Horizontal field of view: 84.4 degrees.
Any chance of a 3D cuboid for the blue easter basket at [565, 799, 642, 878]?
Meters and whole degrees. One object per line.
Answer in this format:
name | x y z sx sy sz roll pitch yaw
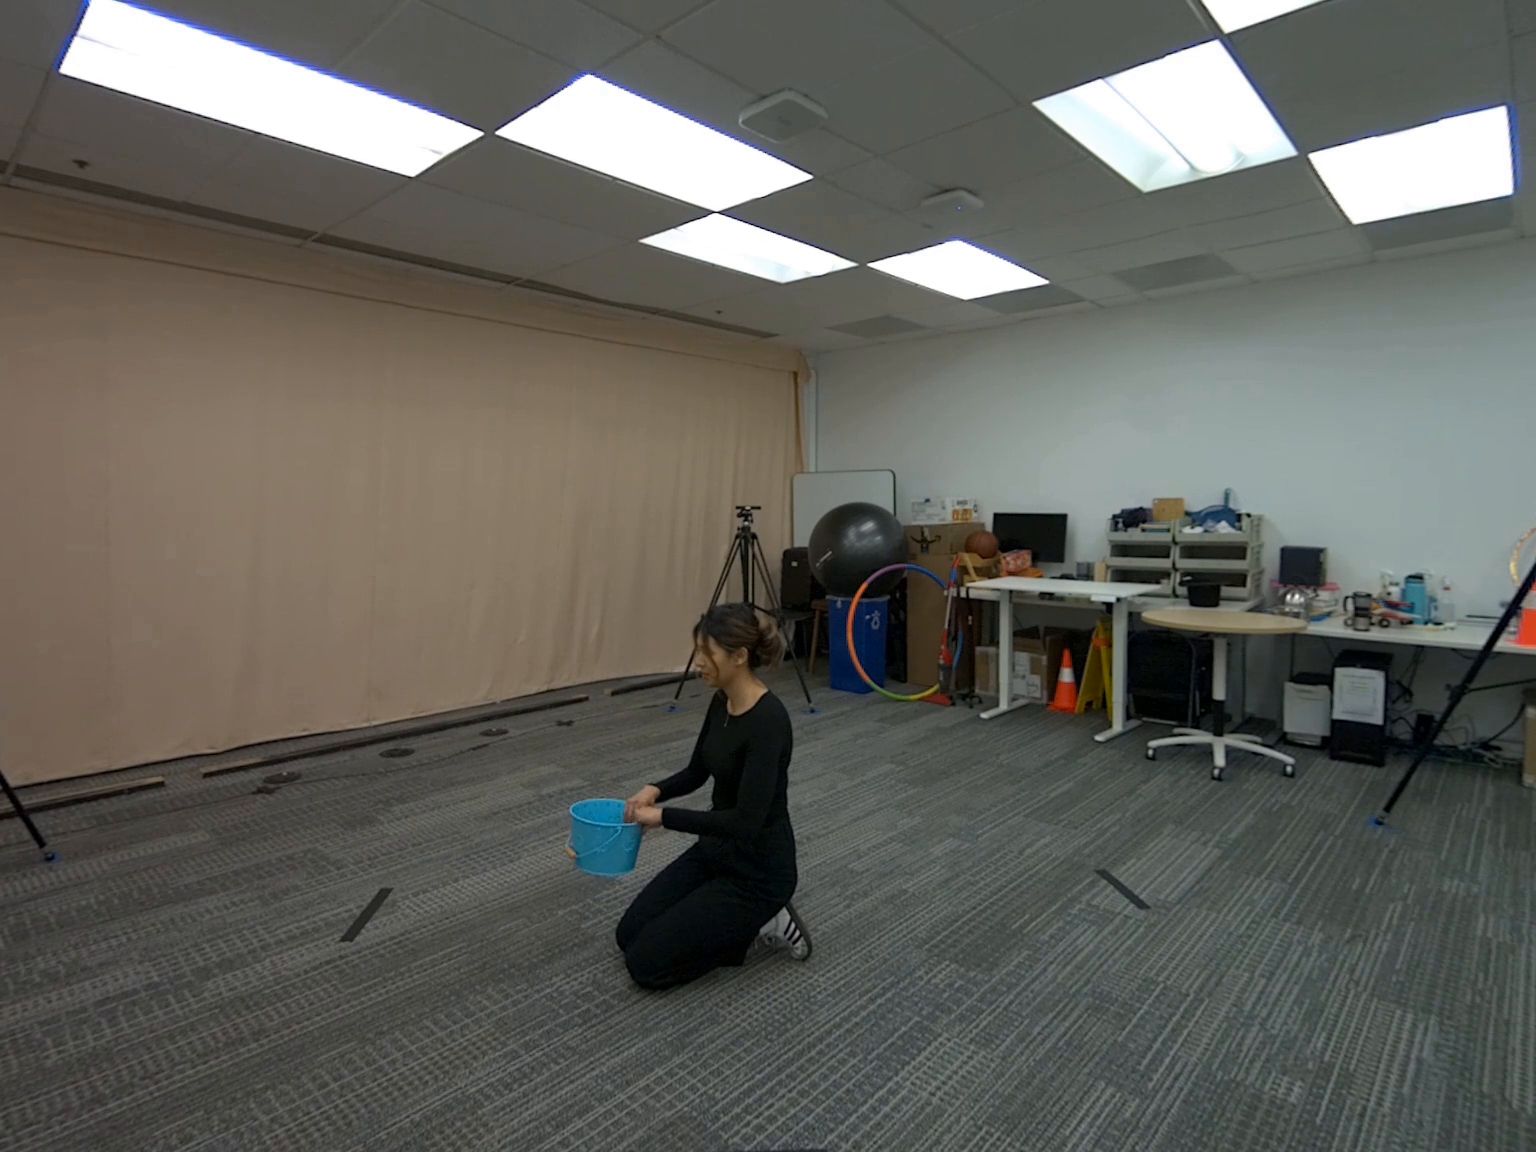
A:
blue easter basket | -0.468 0.774 2.448 0.243 0.156 0.244 5 0 -2
